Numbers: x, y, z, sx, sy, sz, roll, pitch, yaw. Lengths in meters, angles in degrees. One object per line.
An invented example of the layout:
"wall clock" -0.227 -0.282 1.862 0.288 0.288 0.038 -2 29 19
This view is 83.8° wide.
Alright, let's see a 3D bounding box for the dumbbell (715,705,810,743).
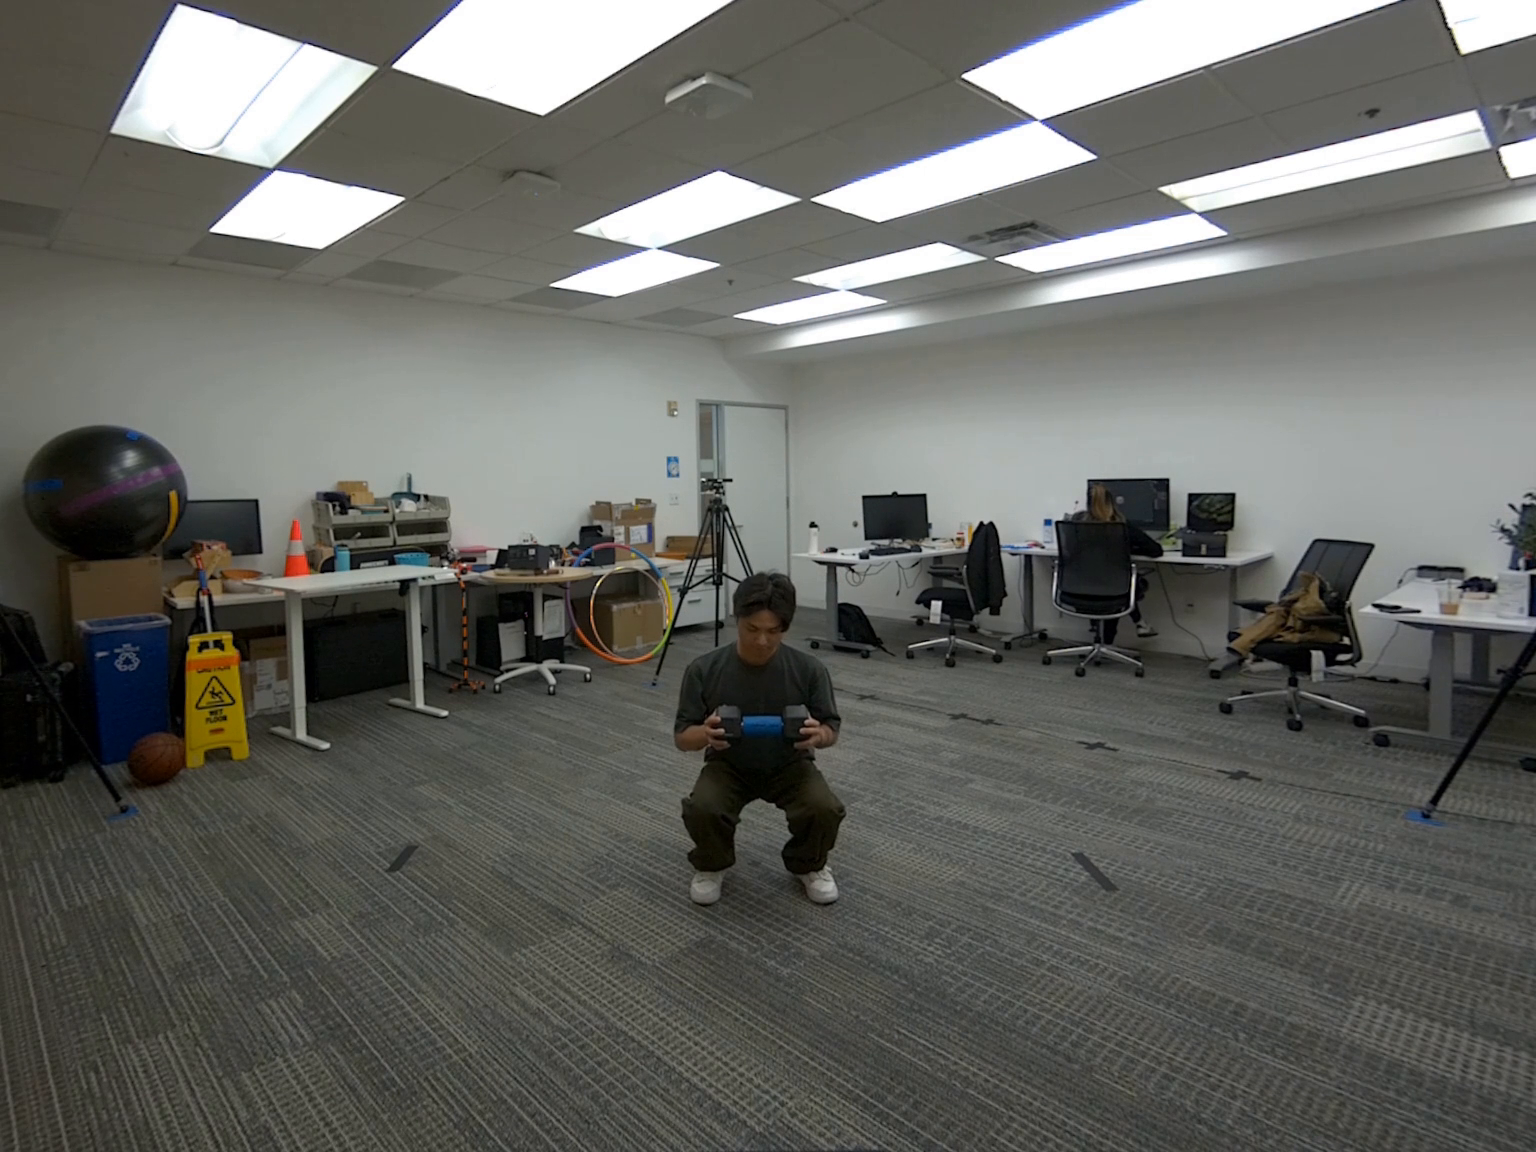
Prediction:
"dumbbell" -0.035 0.476 2.689 0.294 0.111 0.119 -2 -39 2
